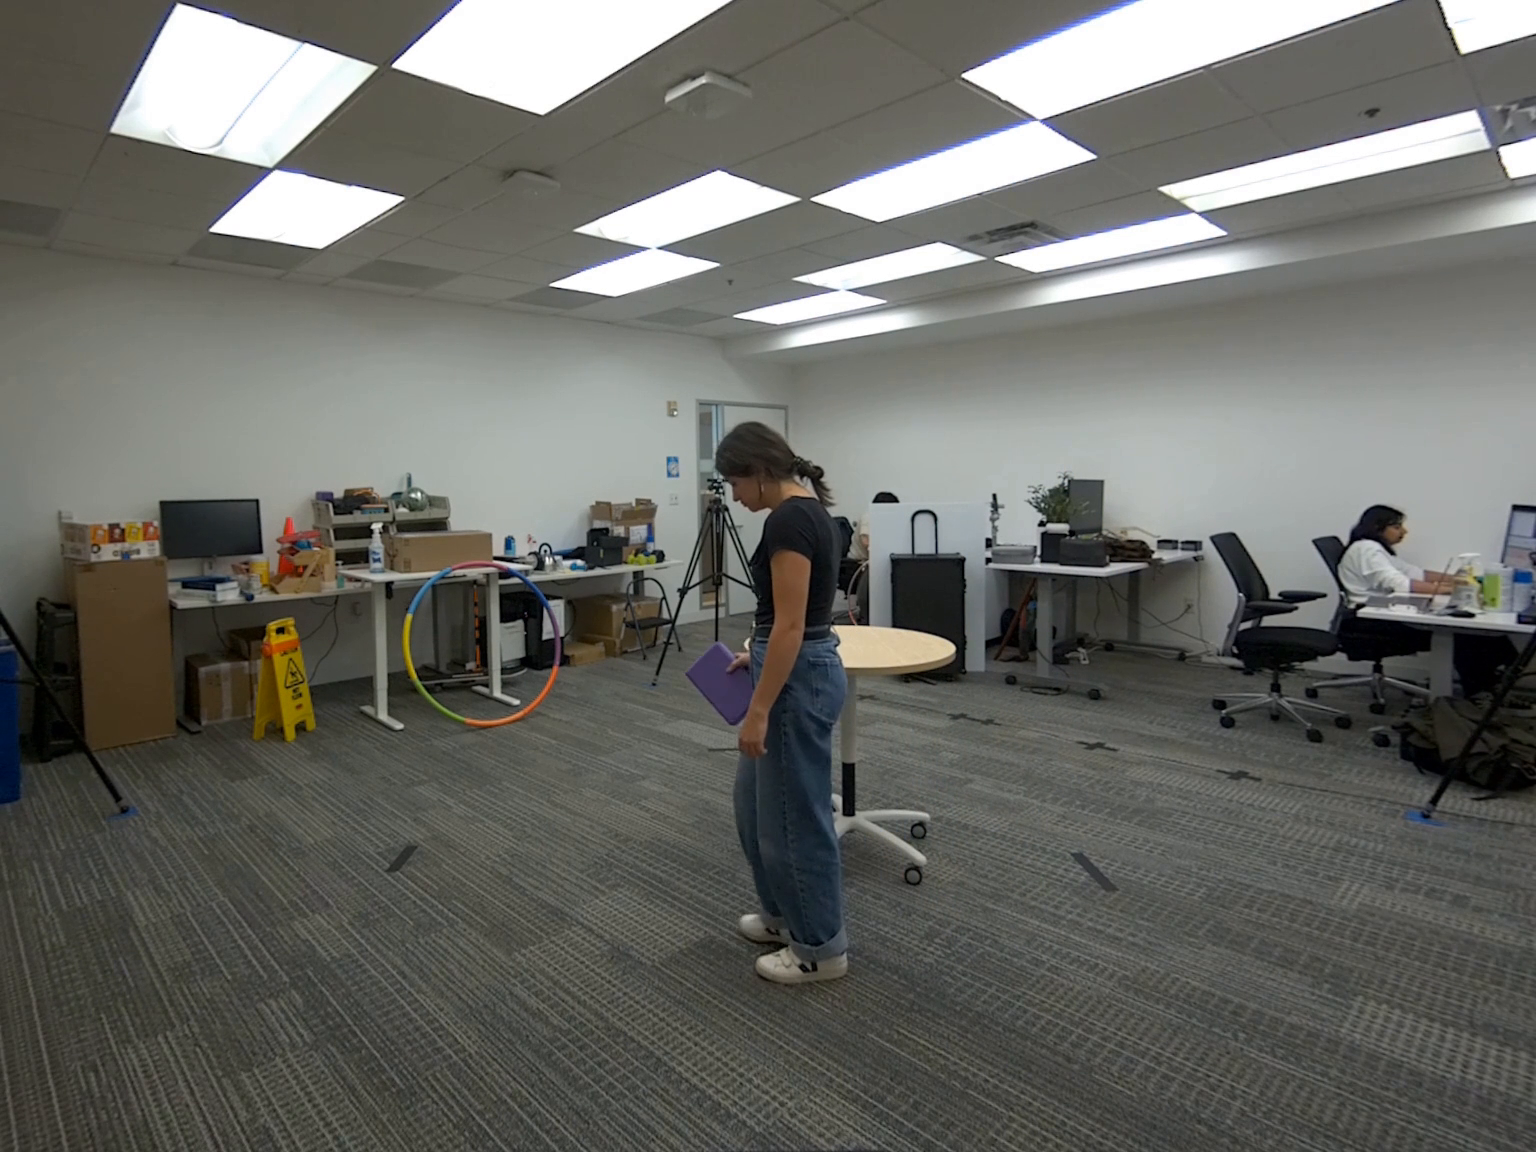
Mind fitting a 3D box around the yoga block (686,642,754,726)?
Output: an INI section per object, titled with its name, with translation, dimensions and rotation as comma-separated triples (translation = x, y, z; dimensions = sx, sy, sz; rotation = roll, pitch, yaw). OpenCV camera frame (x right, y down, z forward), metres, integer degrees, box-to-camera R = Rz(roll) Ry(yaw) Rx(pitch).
[yoga block]
translation = -0.128, 0.346, 2.701
dimensions = 0.149, 0.234, 0.075
rotation = -45, -16, 7
